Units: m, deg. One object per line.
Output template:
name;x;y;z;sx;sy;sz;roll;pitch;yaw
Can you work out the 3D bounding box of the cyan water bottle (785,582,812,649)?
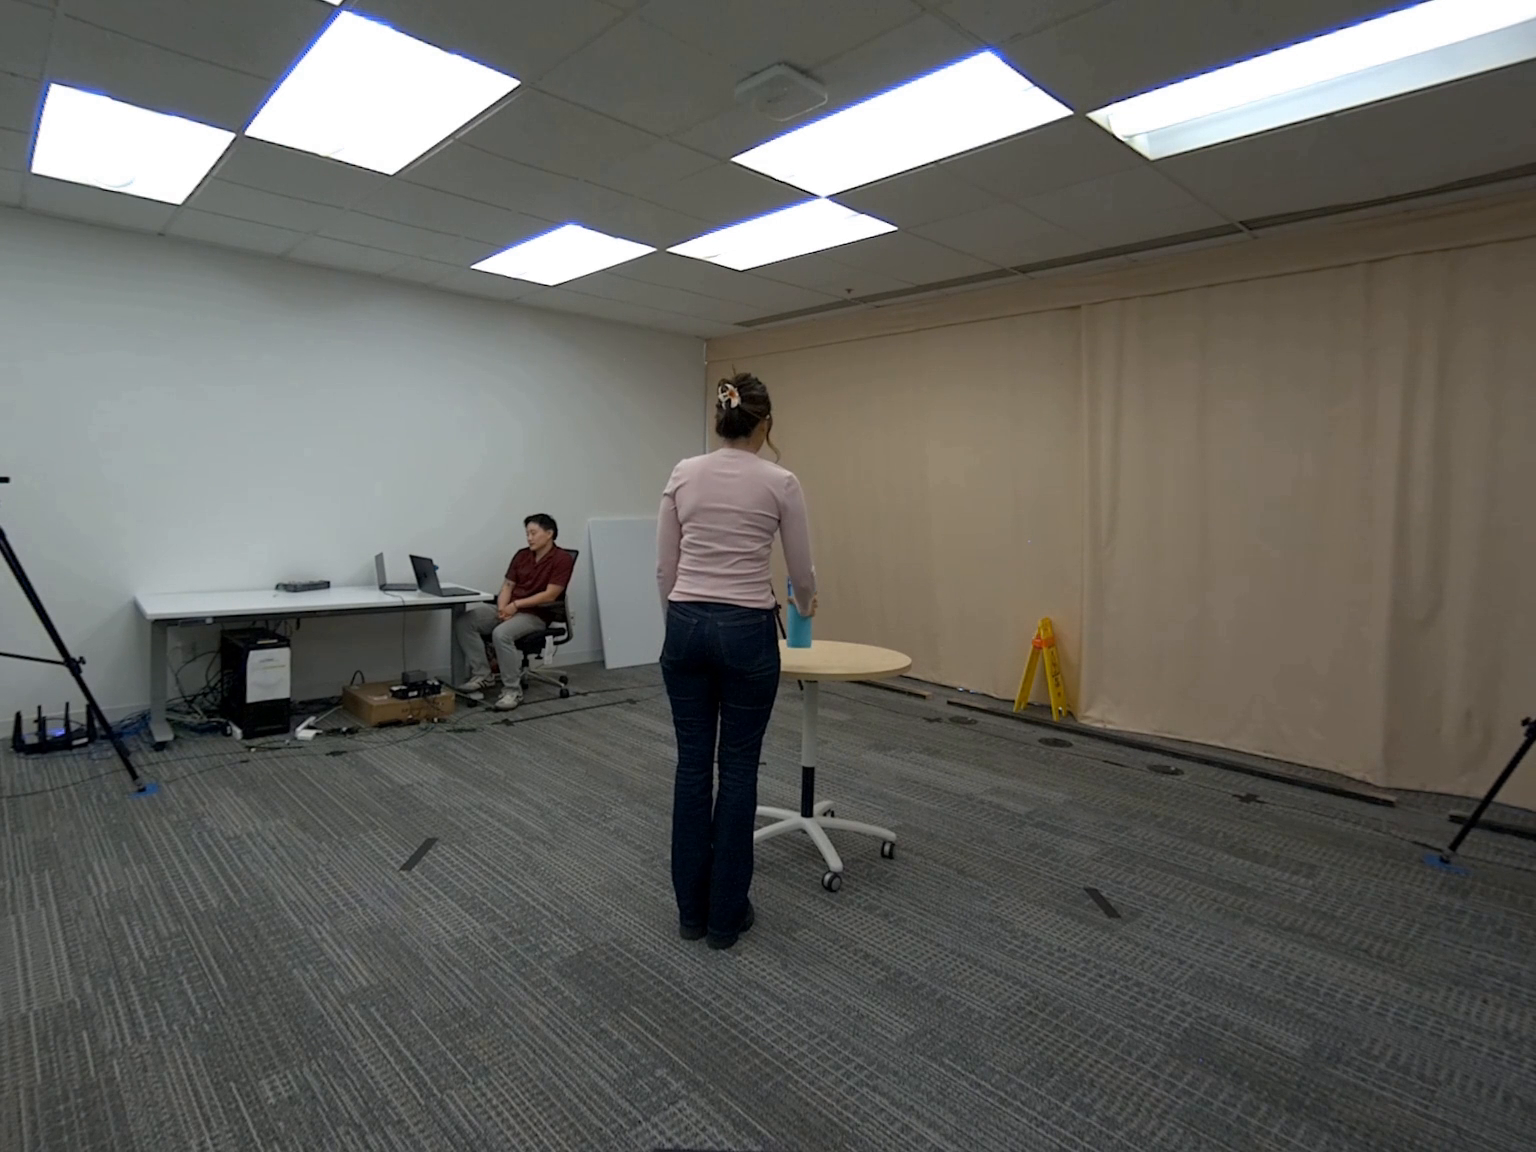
cyan water bottle;0.109;0.130;3.024;0.092;0.283;0.092;-1;2;-1
